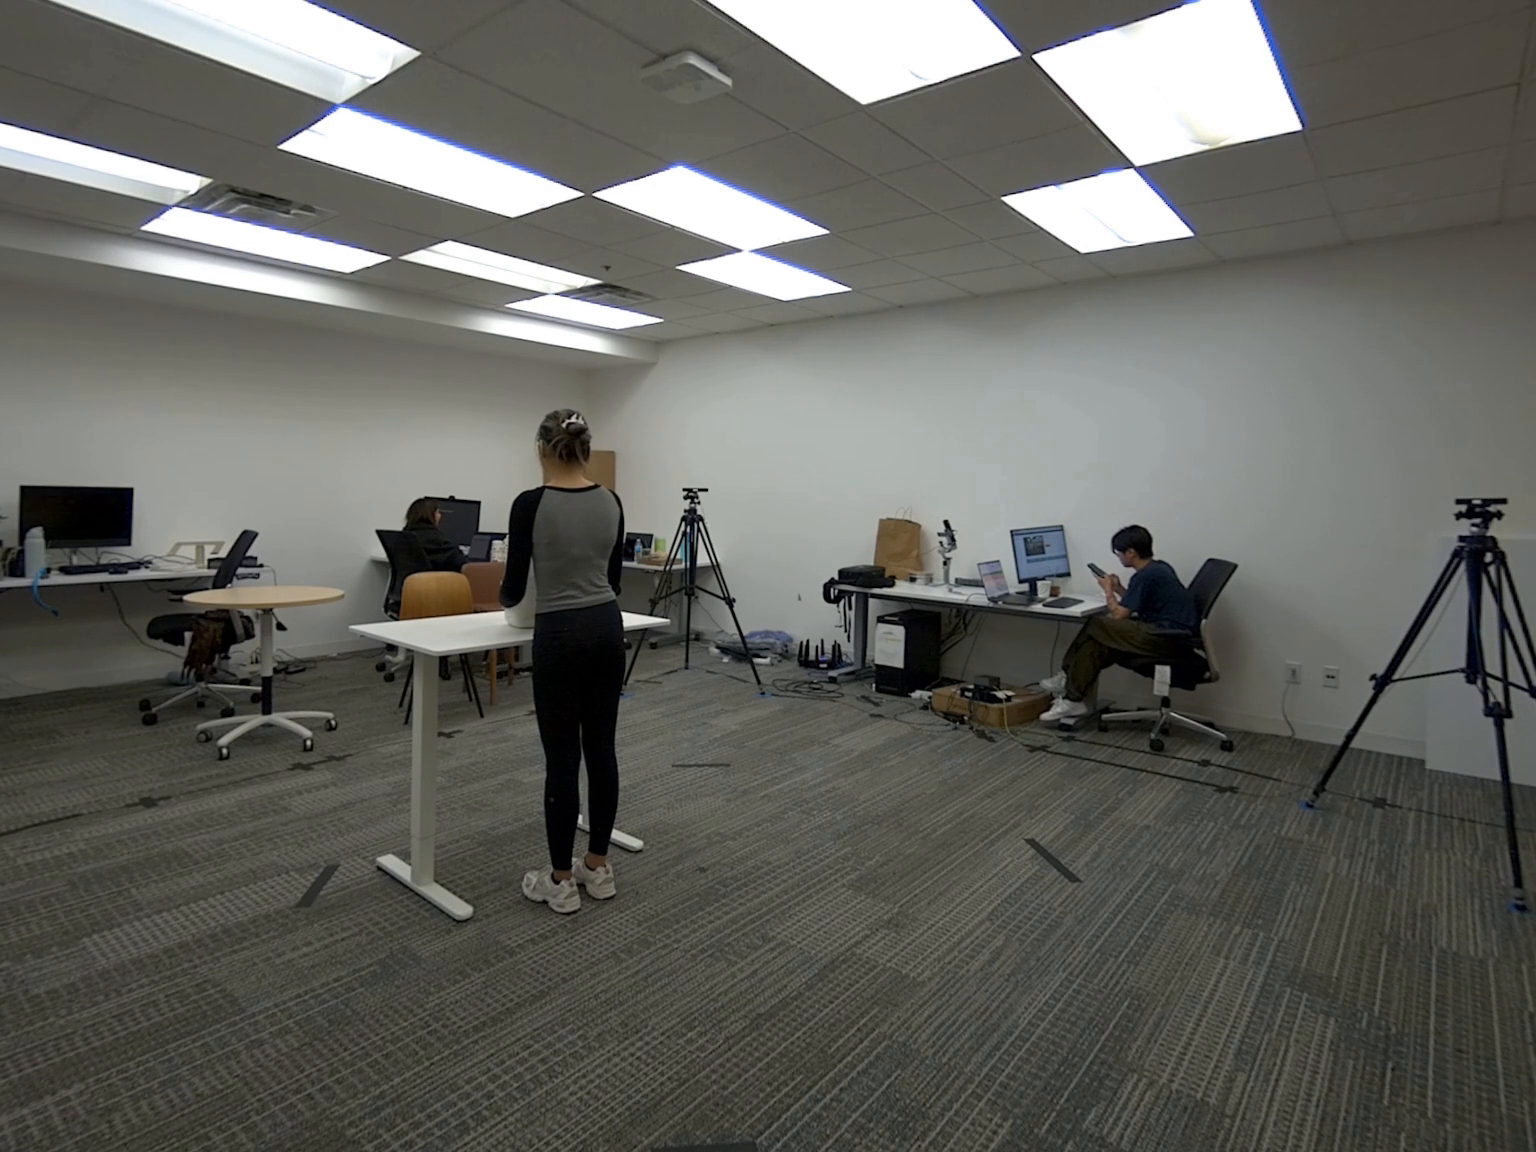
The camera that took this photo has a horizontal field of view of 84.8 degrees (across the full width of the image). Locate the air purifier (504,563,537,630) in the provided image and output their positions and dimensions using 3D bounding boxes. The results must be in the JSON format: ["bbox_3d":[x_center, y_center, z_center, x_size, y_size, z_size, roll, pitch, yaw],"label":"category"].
[{"bbox_3d":[-0.868,0.047,3.101,0.166,0.265,0.177,1,3,-36],"label":"air purifier"}]
